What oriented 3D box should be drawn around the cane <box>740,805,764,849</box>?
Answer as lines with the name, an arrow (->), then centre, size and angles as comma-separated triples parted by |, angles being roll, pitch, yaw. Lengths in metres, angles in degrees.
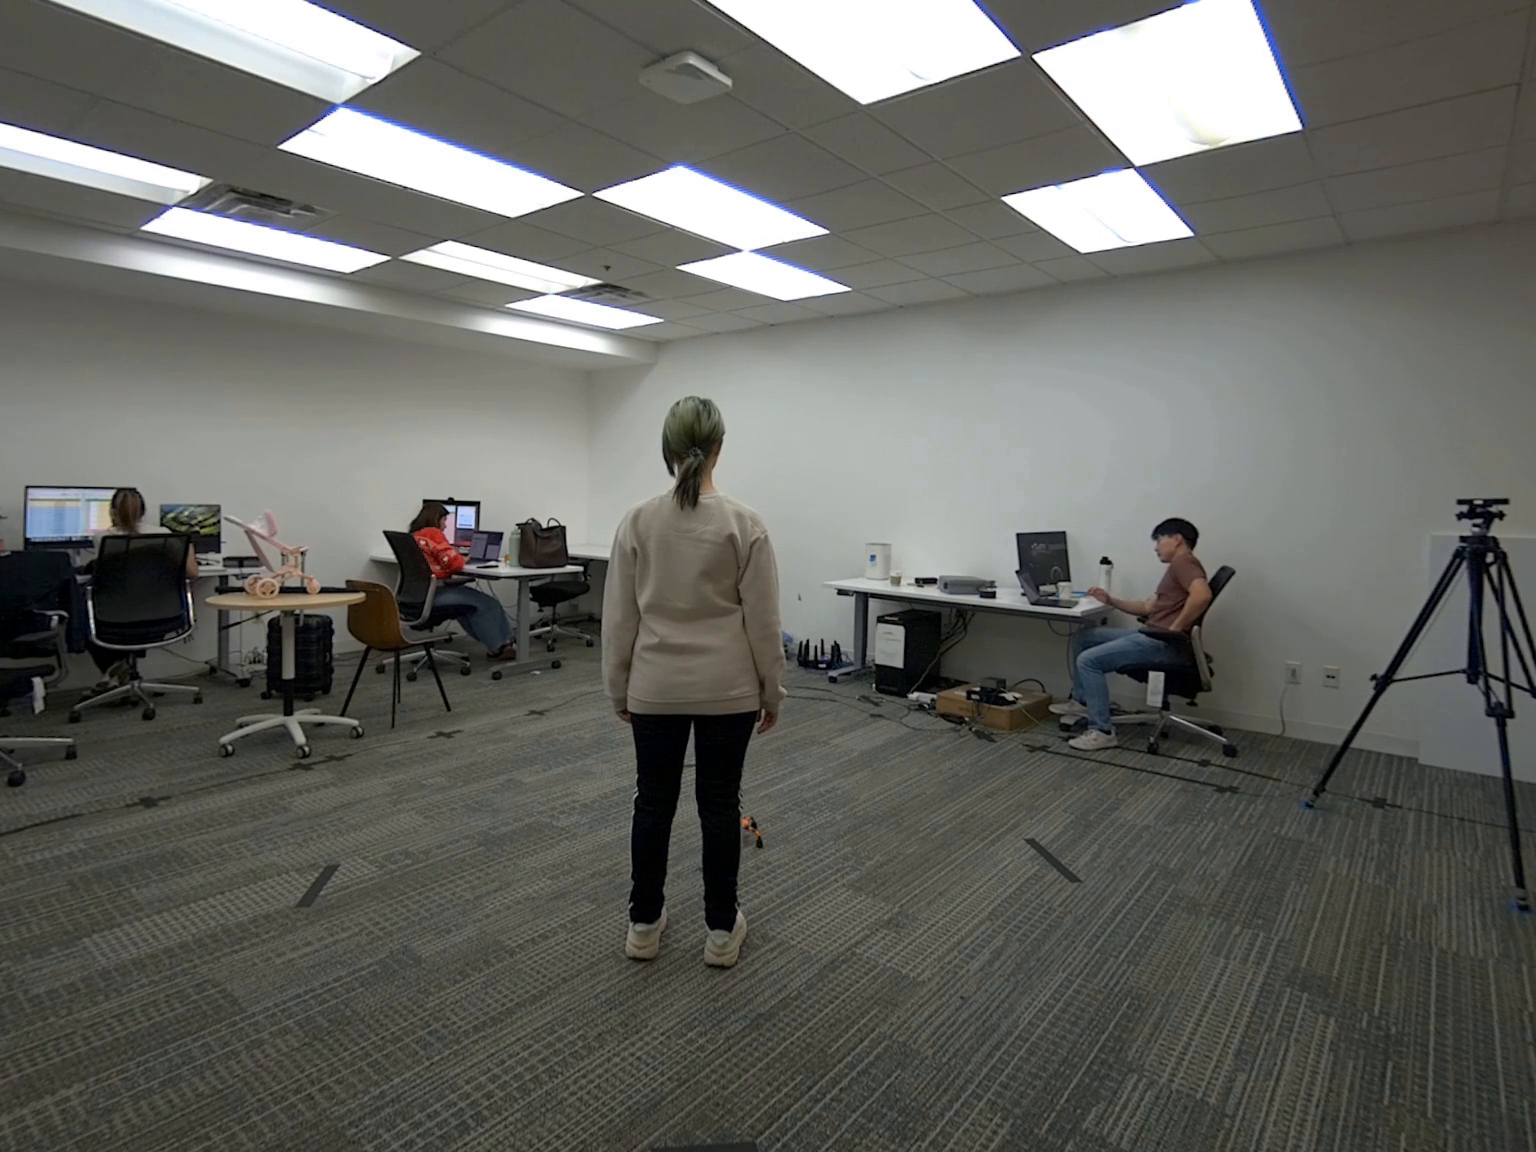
cane -> -0.108, 0.584, 3.379 | 0.150, 0.905, 0.208 | 1, 3, -8
